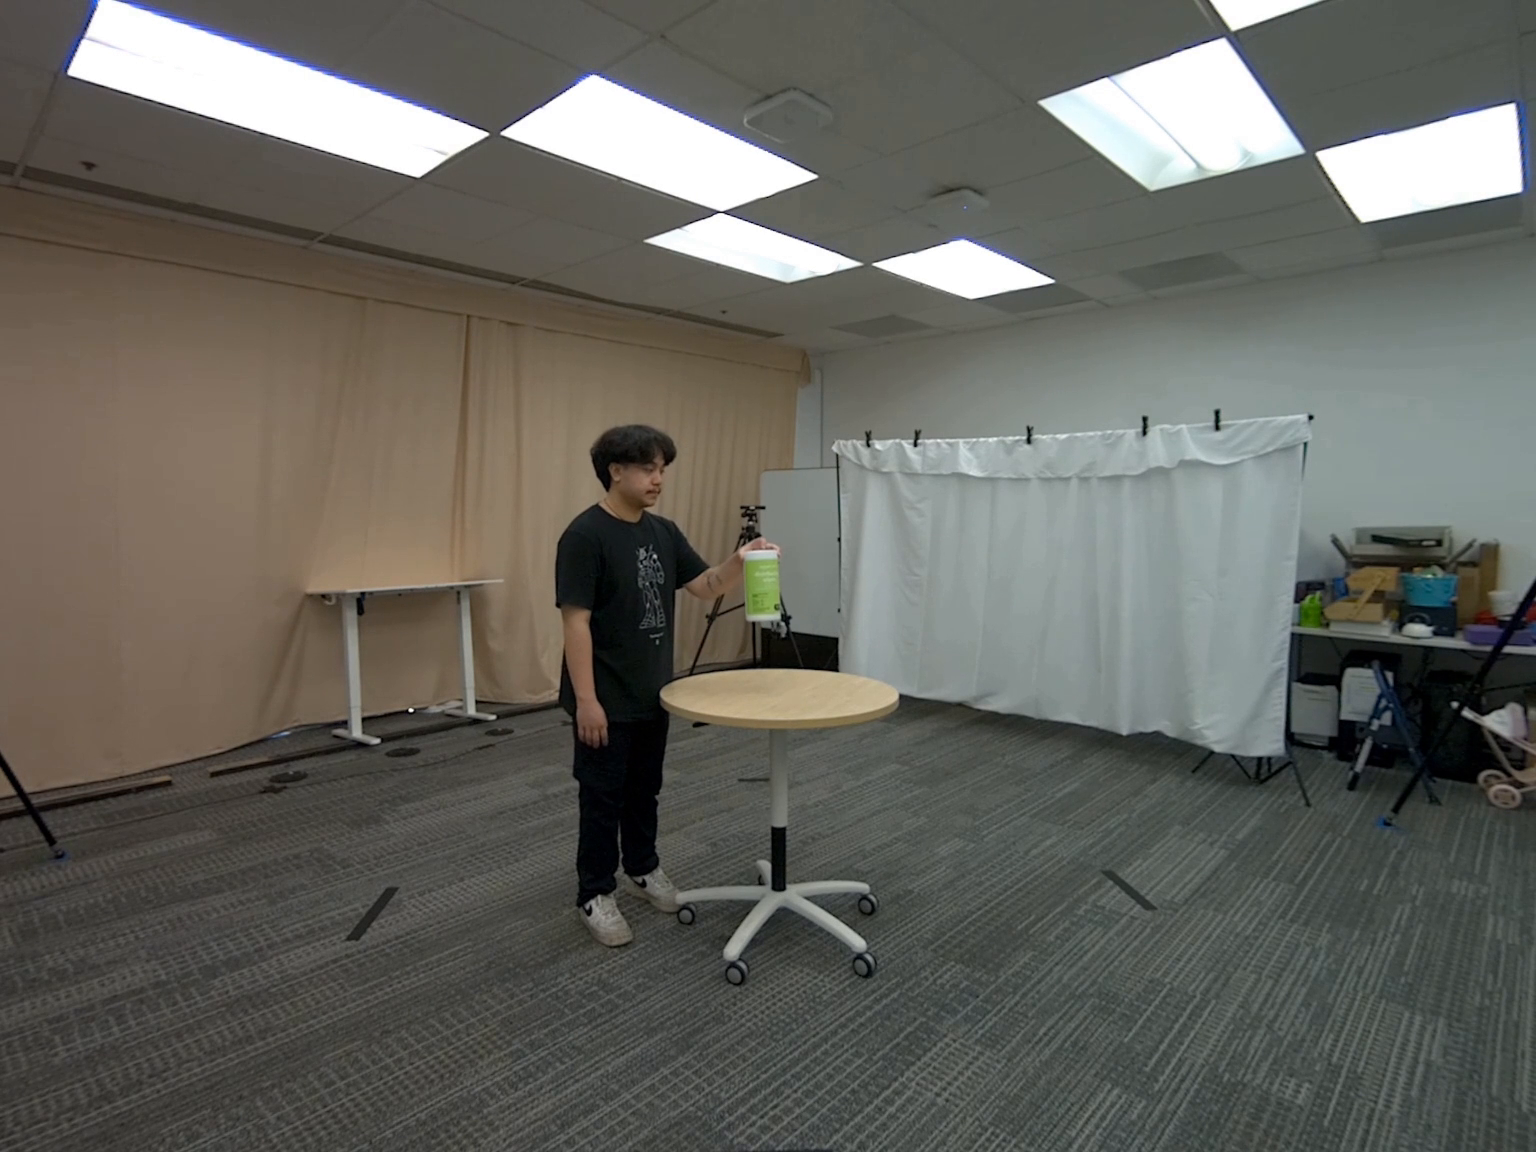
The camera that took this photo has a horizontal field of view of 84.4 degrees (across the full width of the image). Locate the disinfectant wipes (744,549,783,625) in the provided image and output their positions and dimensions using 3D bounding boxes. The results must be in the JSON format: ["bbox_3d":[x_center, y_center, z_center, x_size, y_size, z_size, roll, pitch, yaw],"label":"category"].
[{"bbox_3d":[-0.012,0.030,2.588,0.117,0.218,0.117,-2,-3,-2],"label":"disinfectant wipes"}]
